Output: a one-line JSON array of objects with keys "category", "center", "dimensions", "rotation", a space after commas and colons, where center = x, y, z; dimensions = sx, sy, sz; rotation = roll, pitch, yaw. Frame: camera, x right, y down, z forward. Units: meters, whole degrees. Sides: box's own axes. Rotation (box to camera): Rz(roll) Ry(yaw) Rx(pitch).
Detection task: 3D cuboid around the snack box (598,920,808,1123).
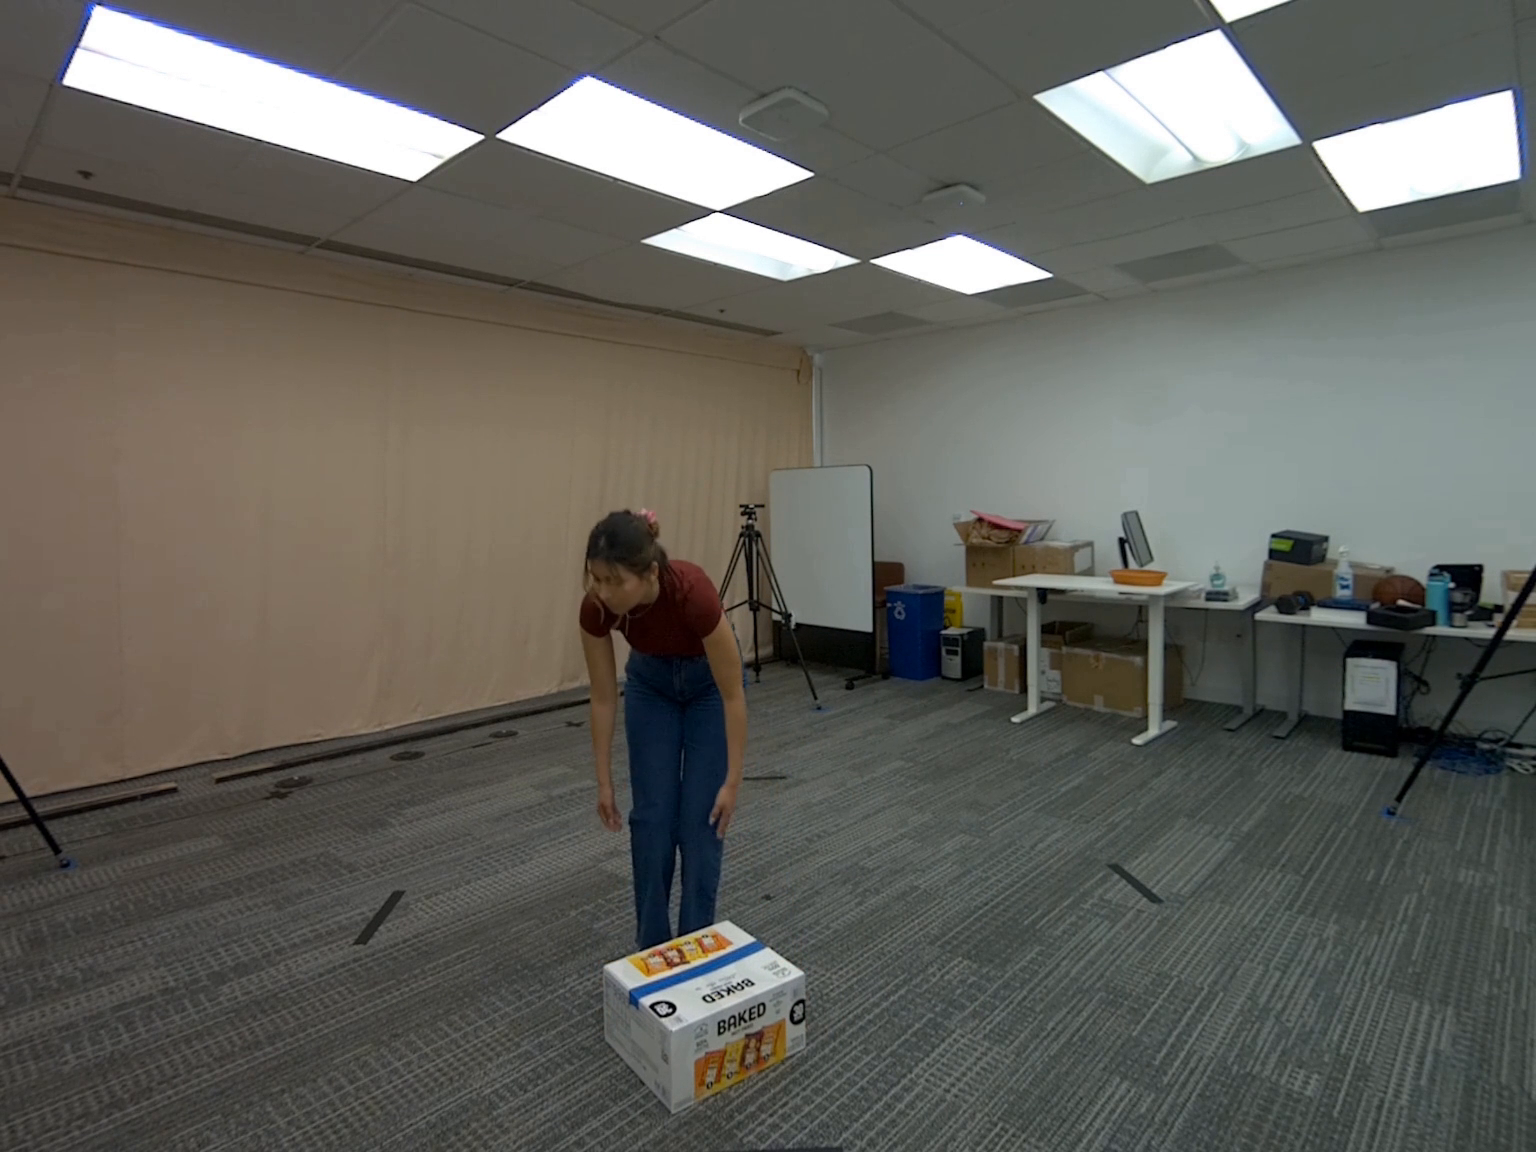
[{"category": "snack box", "center": [-0.169, 1.104, 2.157], "dimensions": [0.393, 0.205, 0.351], "rotation": [-4, 5, -37]}]
